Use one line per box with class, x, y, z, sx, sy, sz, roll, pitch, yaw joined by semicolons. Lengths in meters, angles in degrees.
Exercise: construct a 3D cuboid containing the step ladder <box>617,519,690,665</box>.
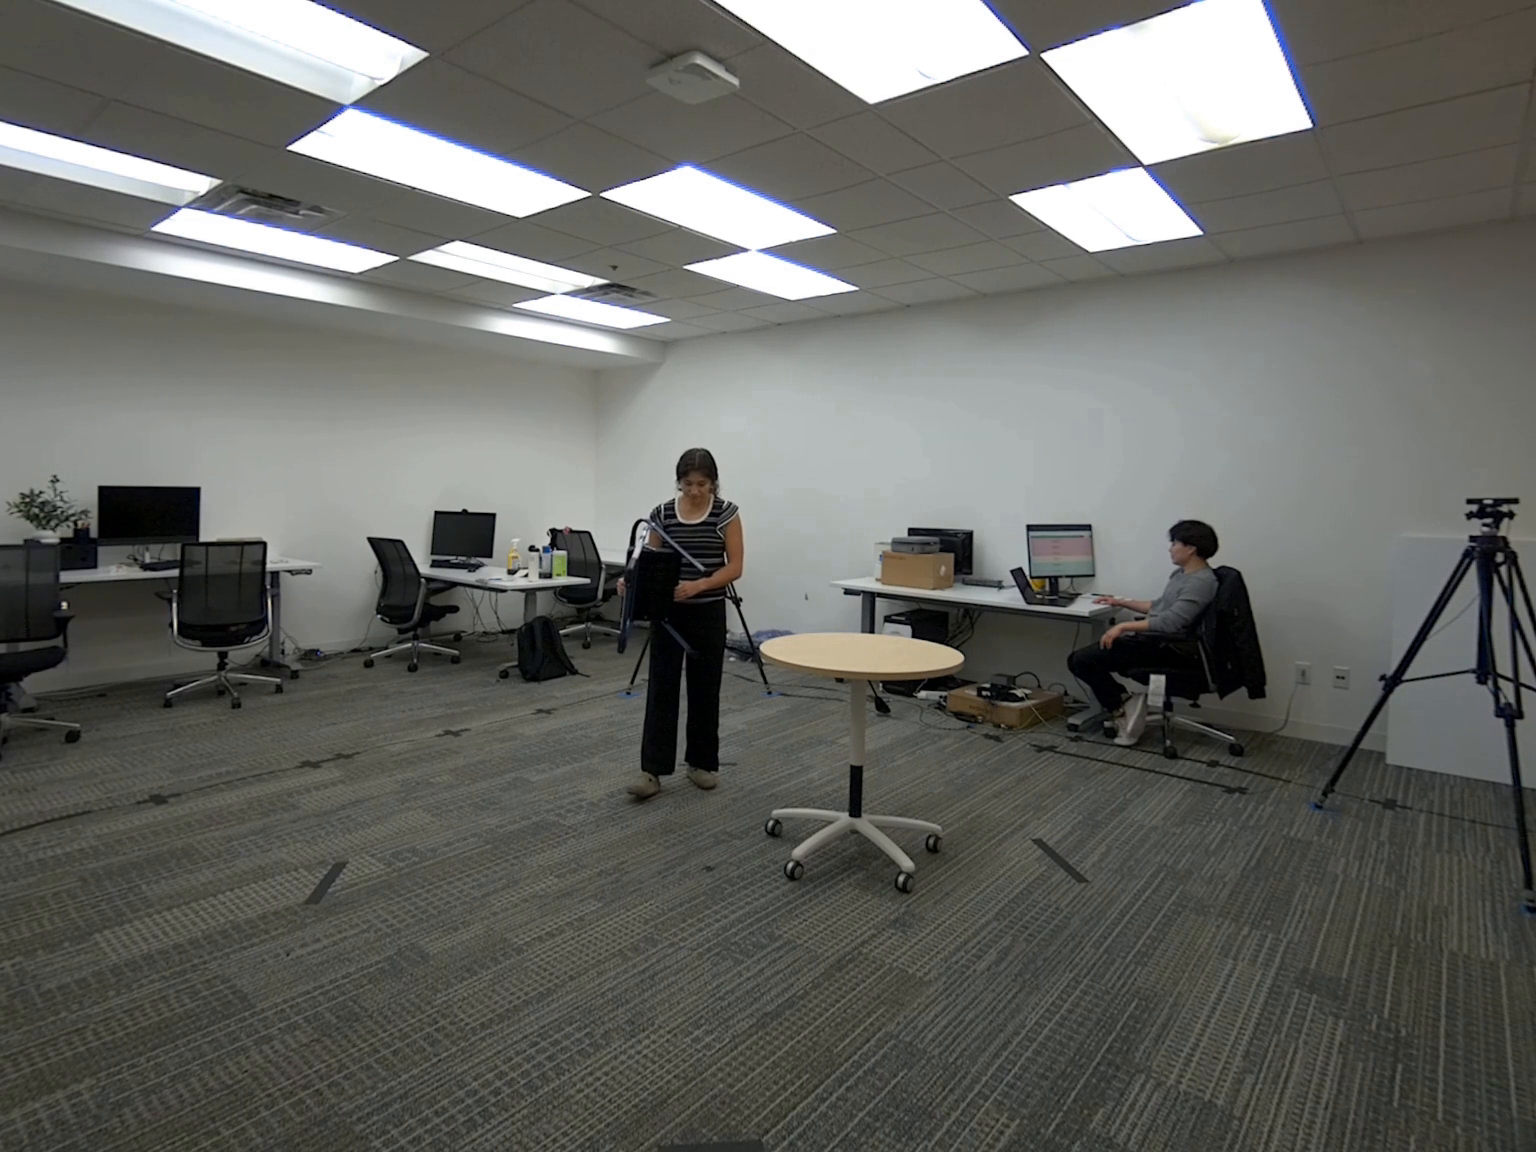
step ladder;-0.527;0.010;3.800;0.343;0.423;0.627;3;26;-17
